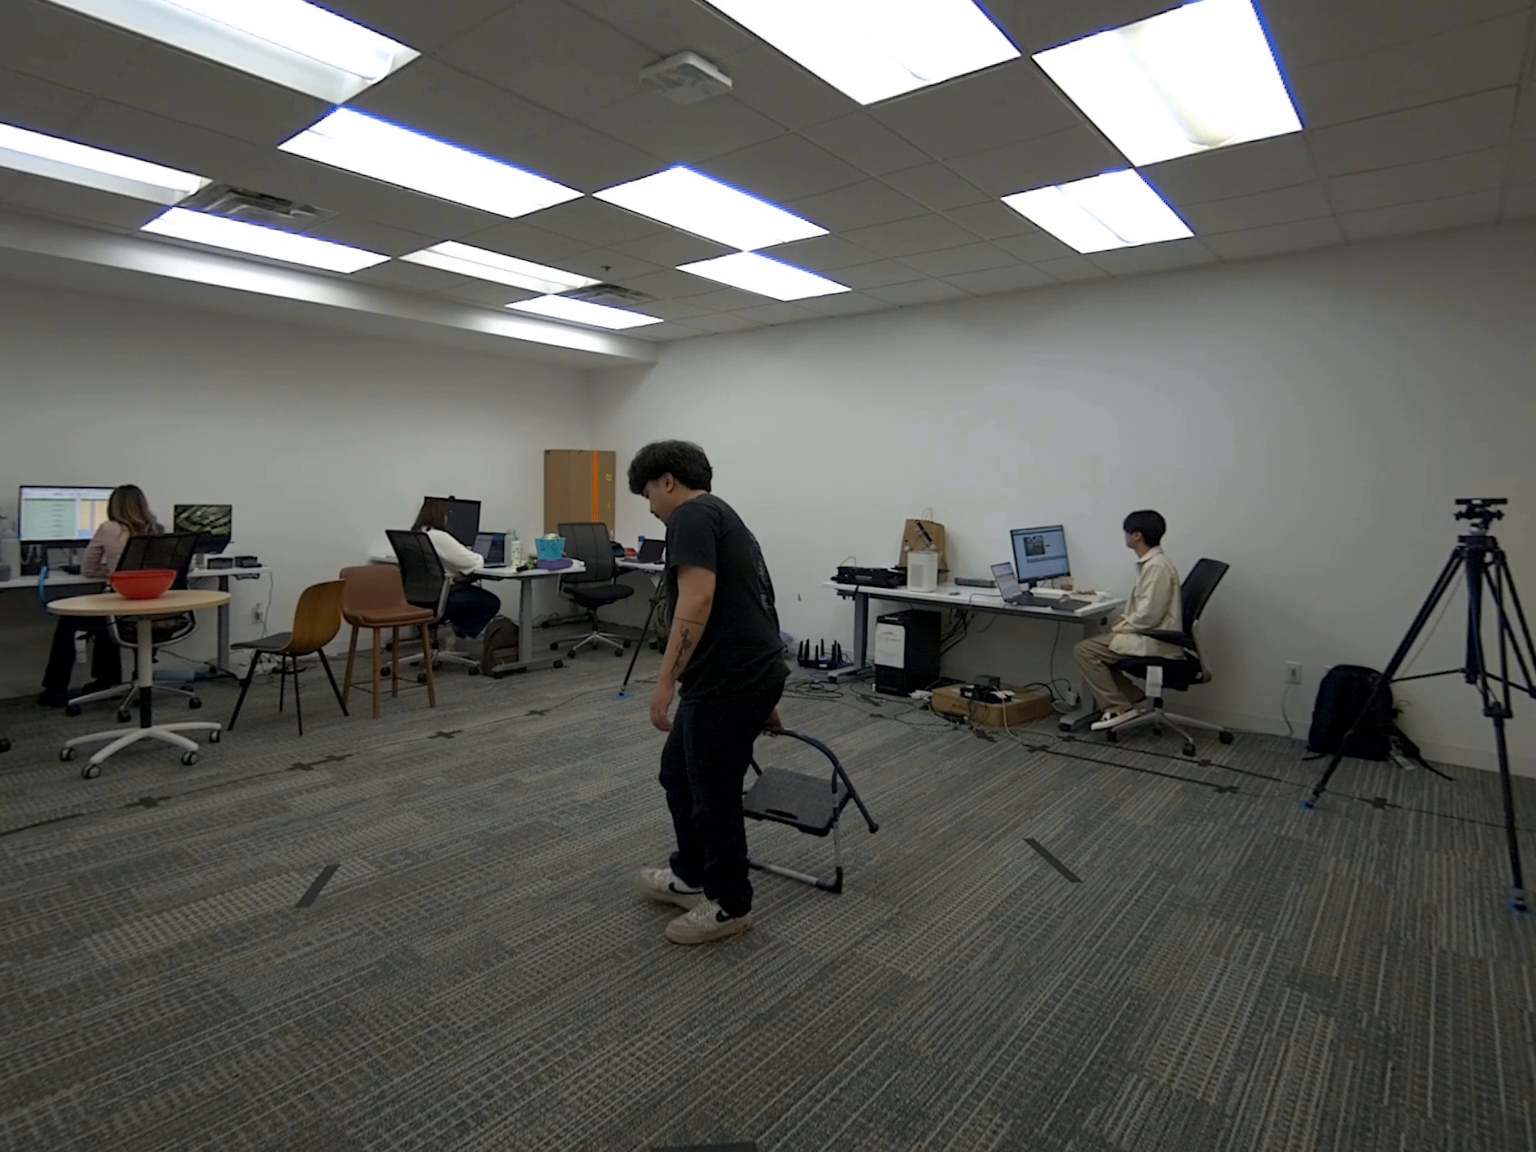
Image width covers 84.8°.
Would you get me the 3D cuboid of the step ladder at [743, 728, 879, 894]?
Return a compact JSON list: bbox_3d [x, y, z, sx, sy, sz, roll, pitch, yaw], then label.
[{"bbox_3d":[0.085,0.737,3.059,0.443,0.591,0.348,3,28,31],"label":"step ladder"}]
